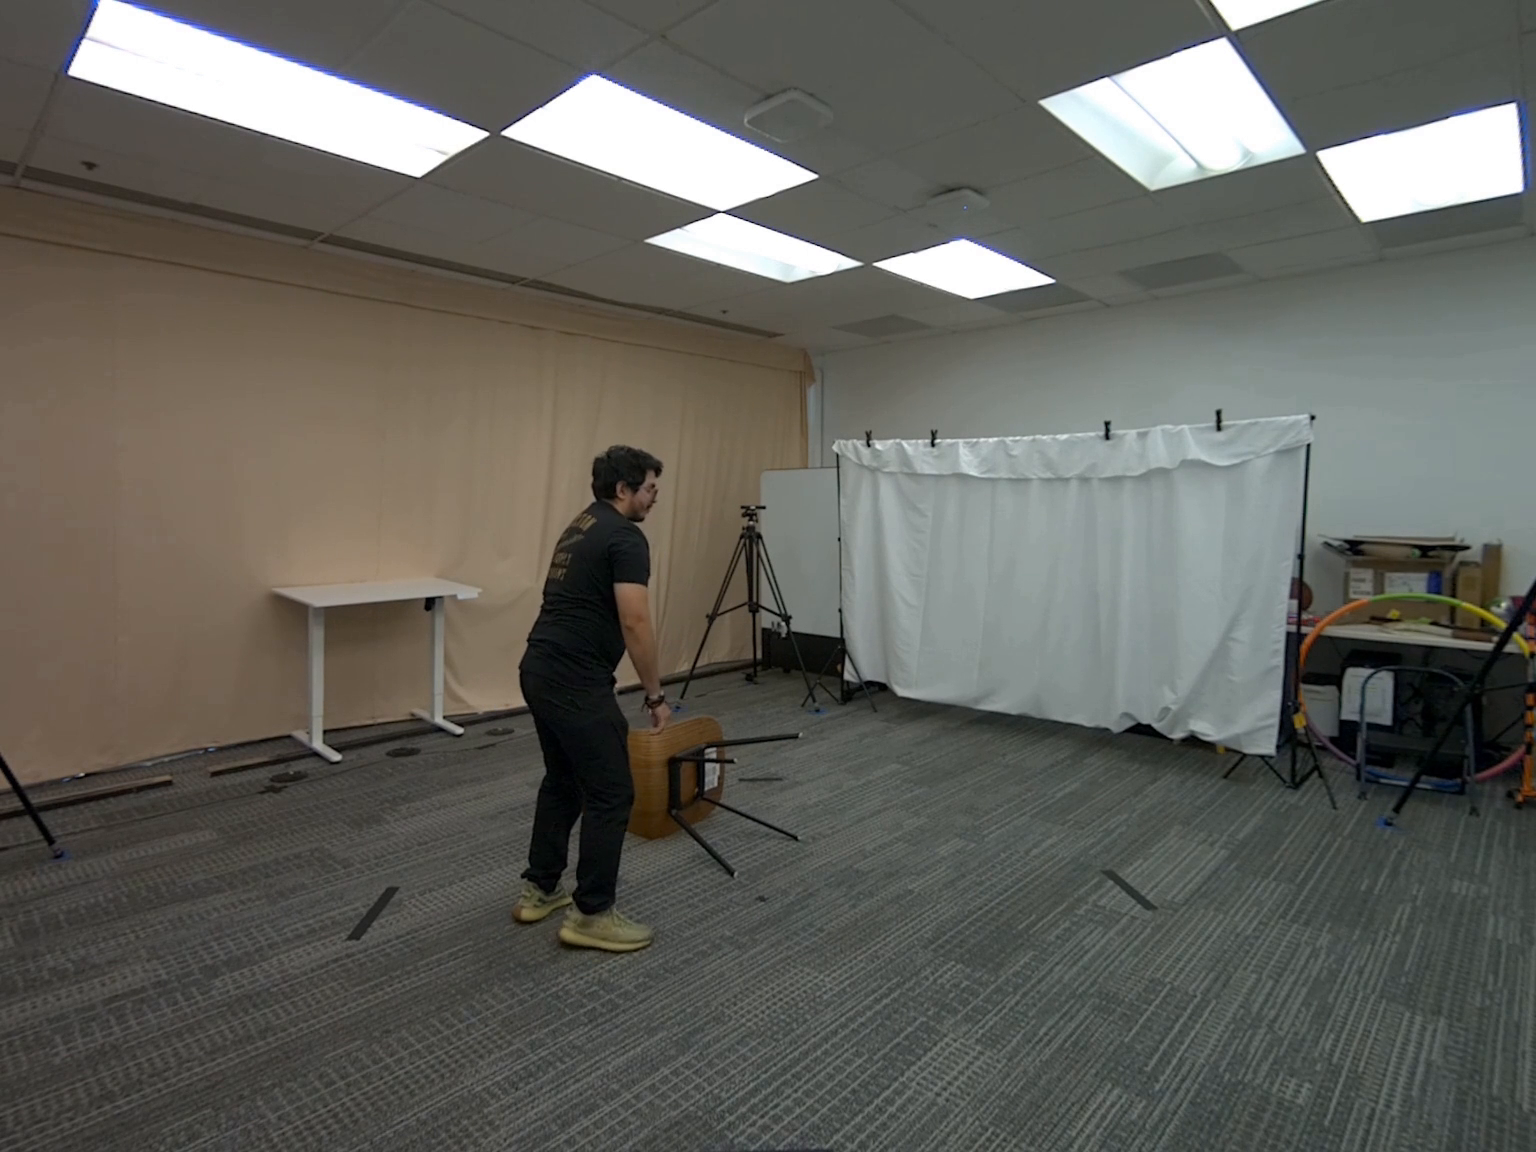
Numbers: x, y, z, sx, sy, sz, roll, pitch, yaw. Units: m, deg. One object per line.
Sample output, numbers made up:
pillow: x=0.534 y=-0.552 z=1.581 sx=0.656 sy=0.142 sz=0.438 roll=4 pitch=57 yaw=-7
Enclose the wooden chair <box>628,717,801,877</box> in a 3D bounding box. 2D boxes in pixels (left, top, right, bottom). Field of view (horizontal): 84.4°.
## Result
wooden chair: x=-0.339 y=0.866 z=3.580 sx=0.904 sy=0.477 sz=0.509 roll=3 pitch=5 yaw=33
